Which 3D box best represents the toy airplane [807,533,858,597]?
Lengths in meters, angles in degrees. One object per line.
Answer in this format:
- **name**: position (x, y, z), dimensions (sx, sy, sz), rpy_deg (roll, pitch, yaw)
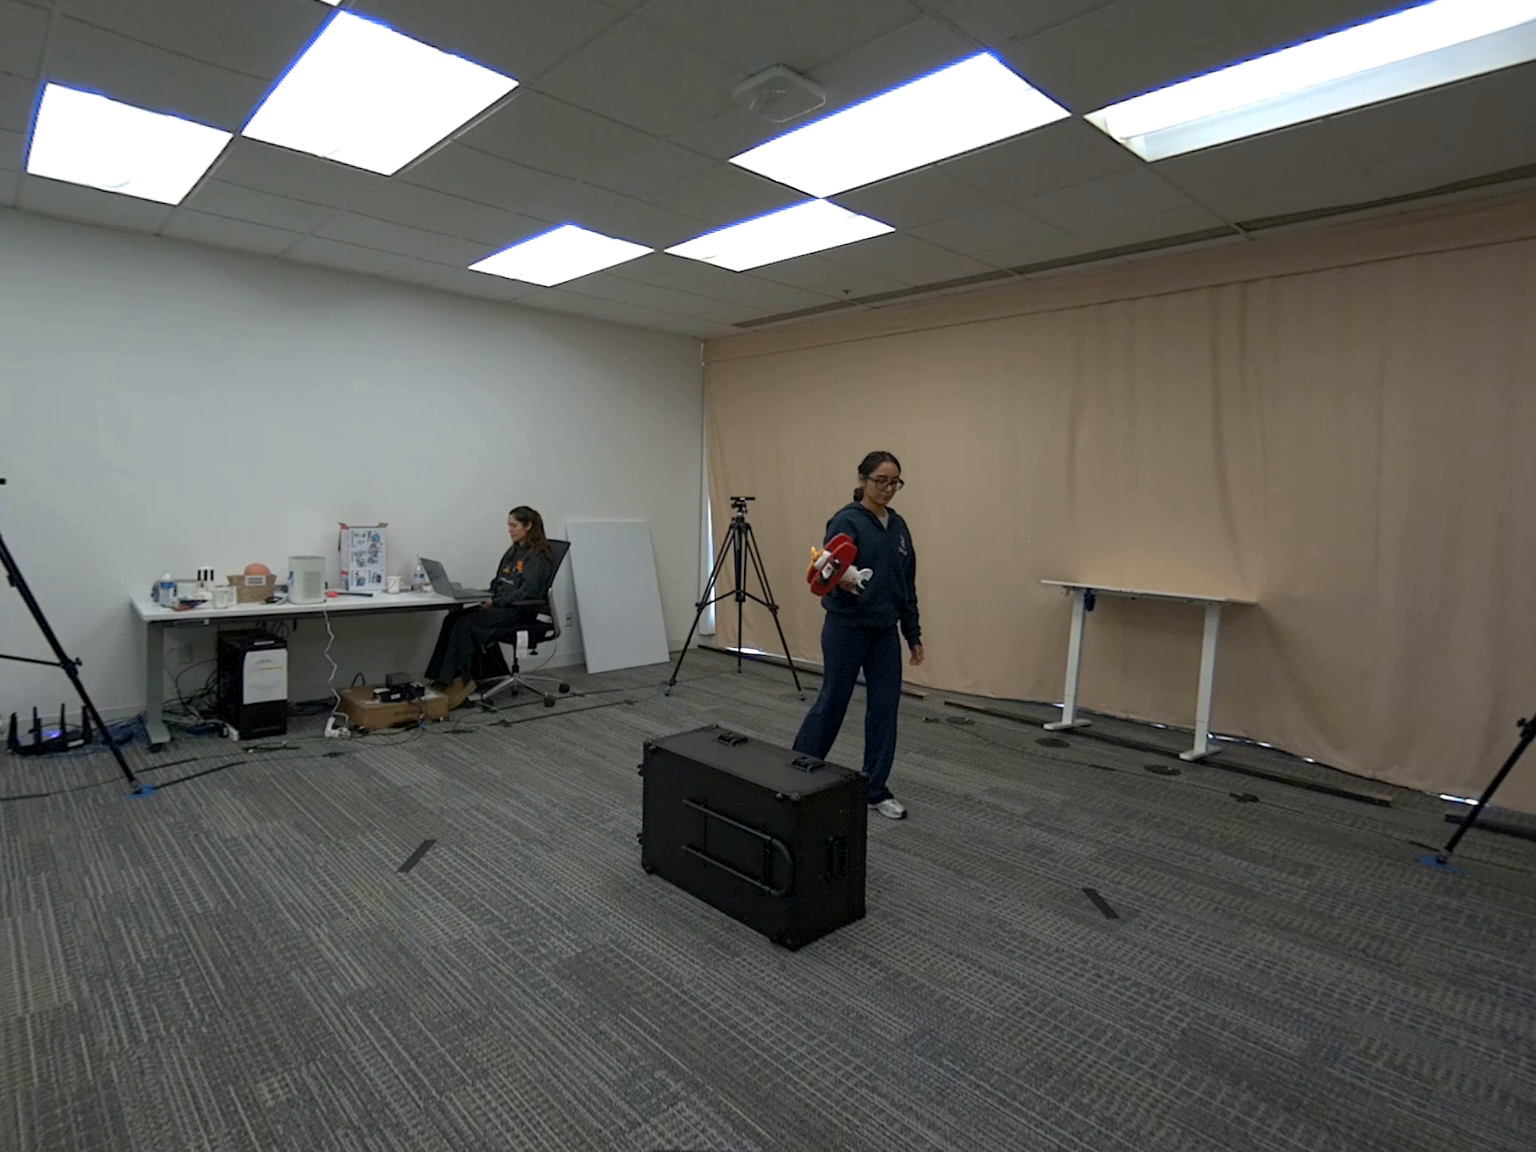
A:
- **toy airplane**: position (0.270, -0.006, 3.371), dimensions (0.251, 0.251, 0.161), rpy_deg (-33, 40, 3)
